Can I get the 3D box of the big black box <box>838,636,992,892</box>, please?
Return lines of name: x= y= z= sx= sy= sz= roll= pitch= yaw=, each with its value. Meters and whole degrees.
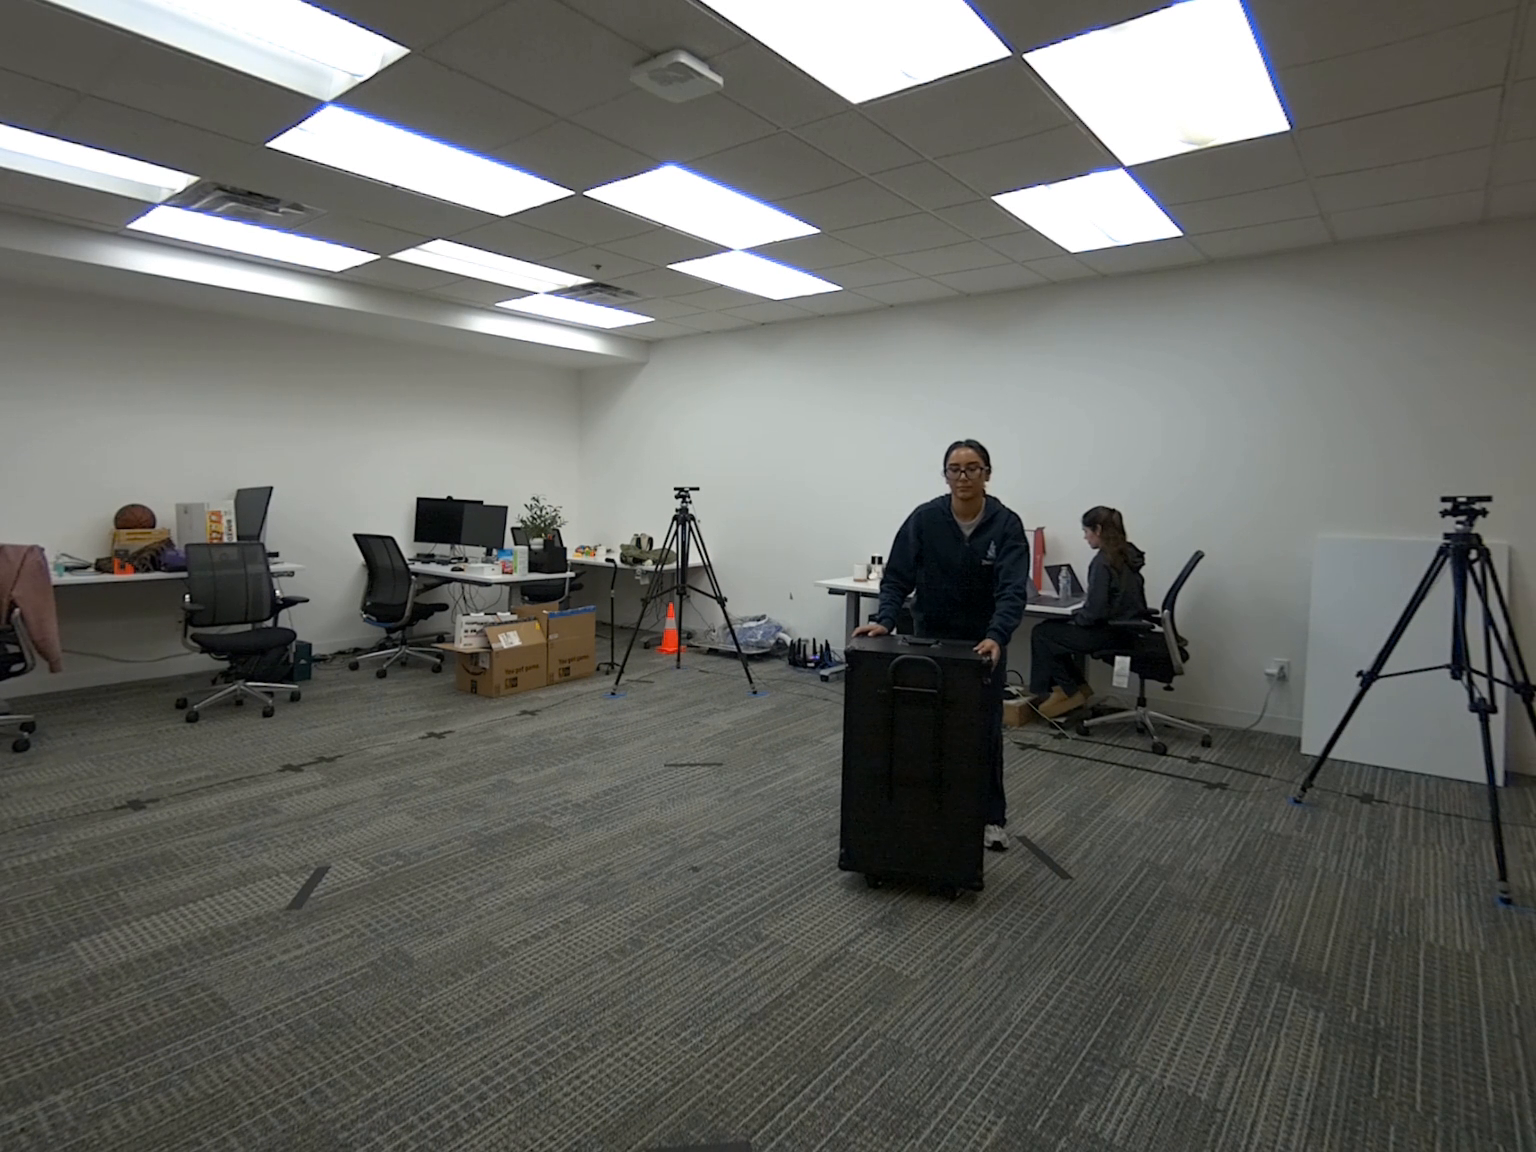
big black box: x=0.521 y=0.661 z=3.032 sx=0.530 sy=0.858 sz=0.391 roll=2 pitch=5 yaw=16
